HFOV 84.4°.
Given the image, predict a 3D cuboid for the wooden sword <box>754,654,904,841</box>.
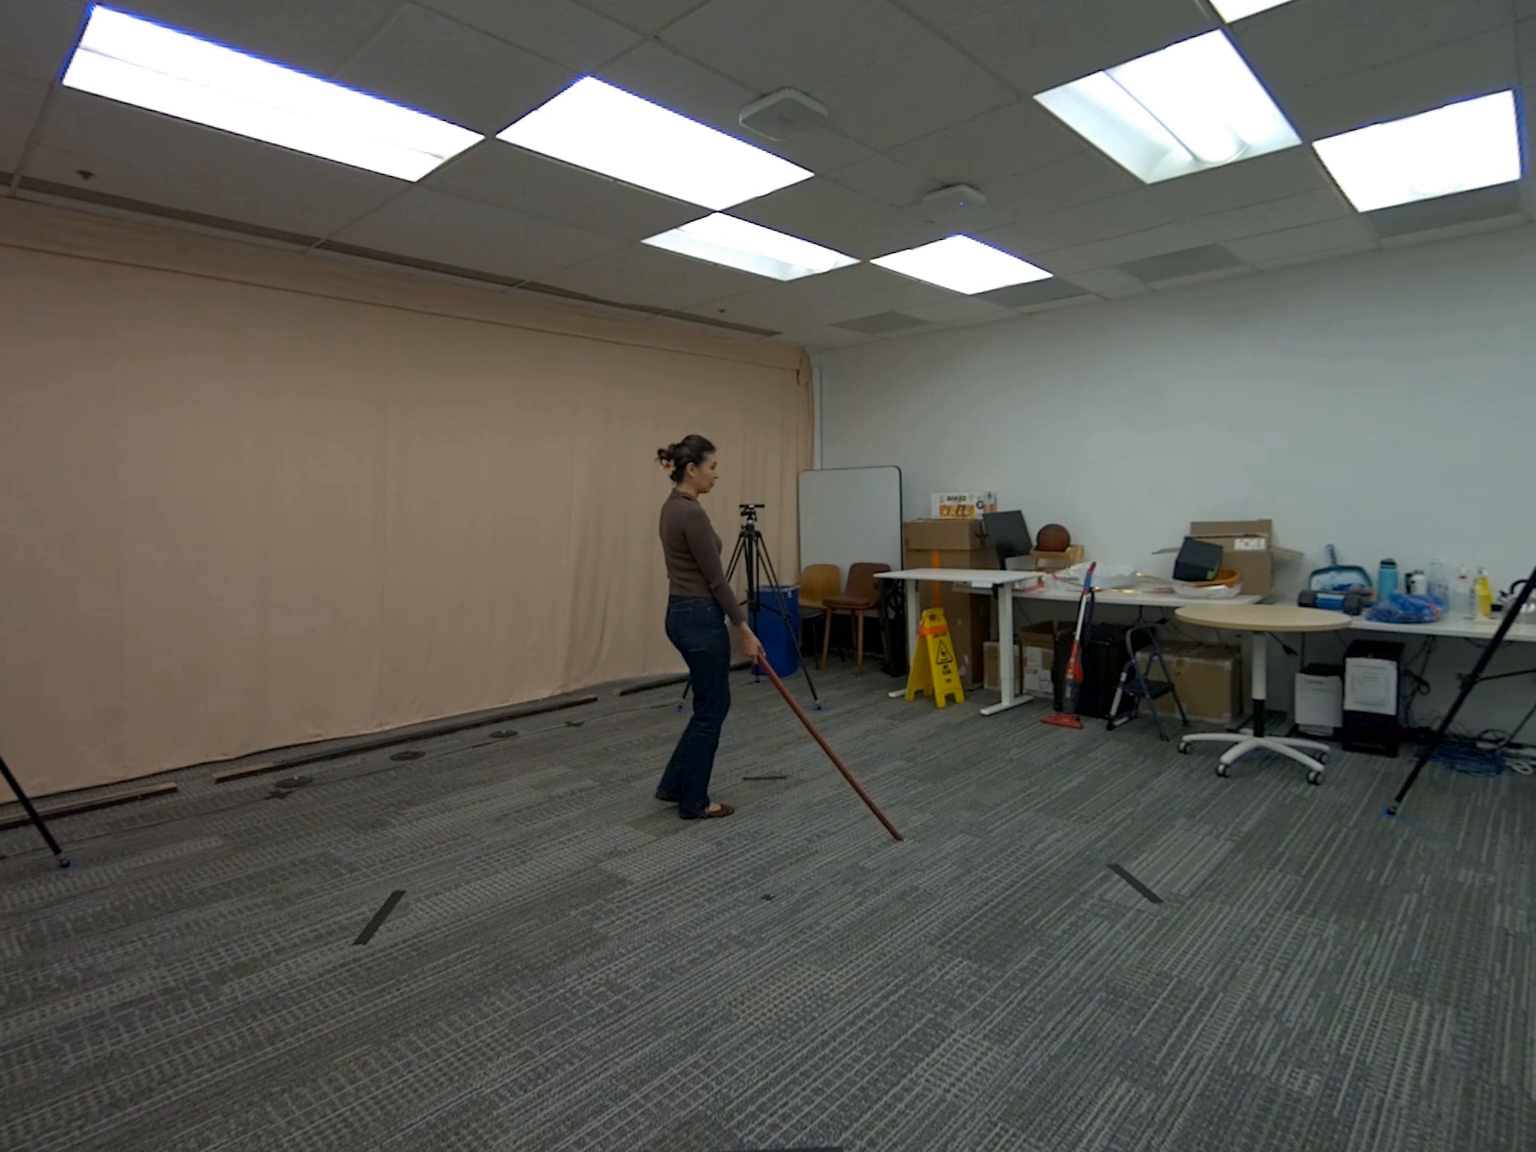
[{"bbox_3d":[0.238,0.708,3.561,0.024,1.035,0.051,-38,-9,-10],"label":"wooden sword"}]
